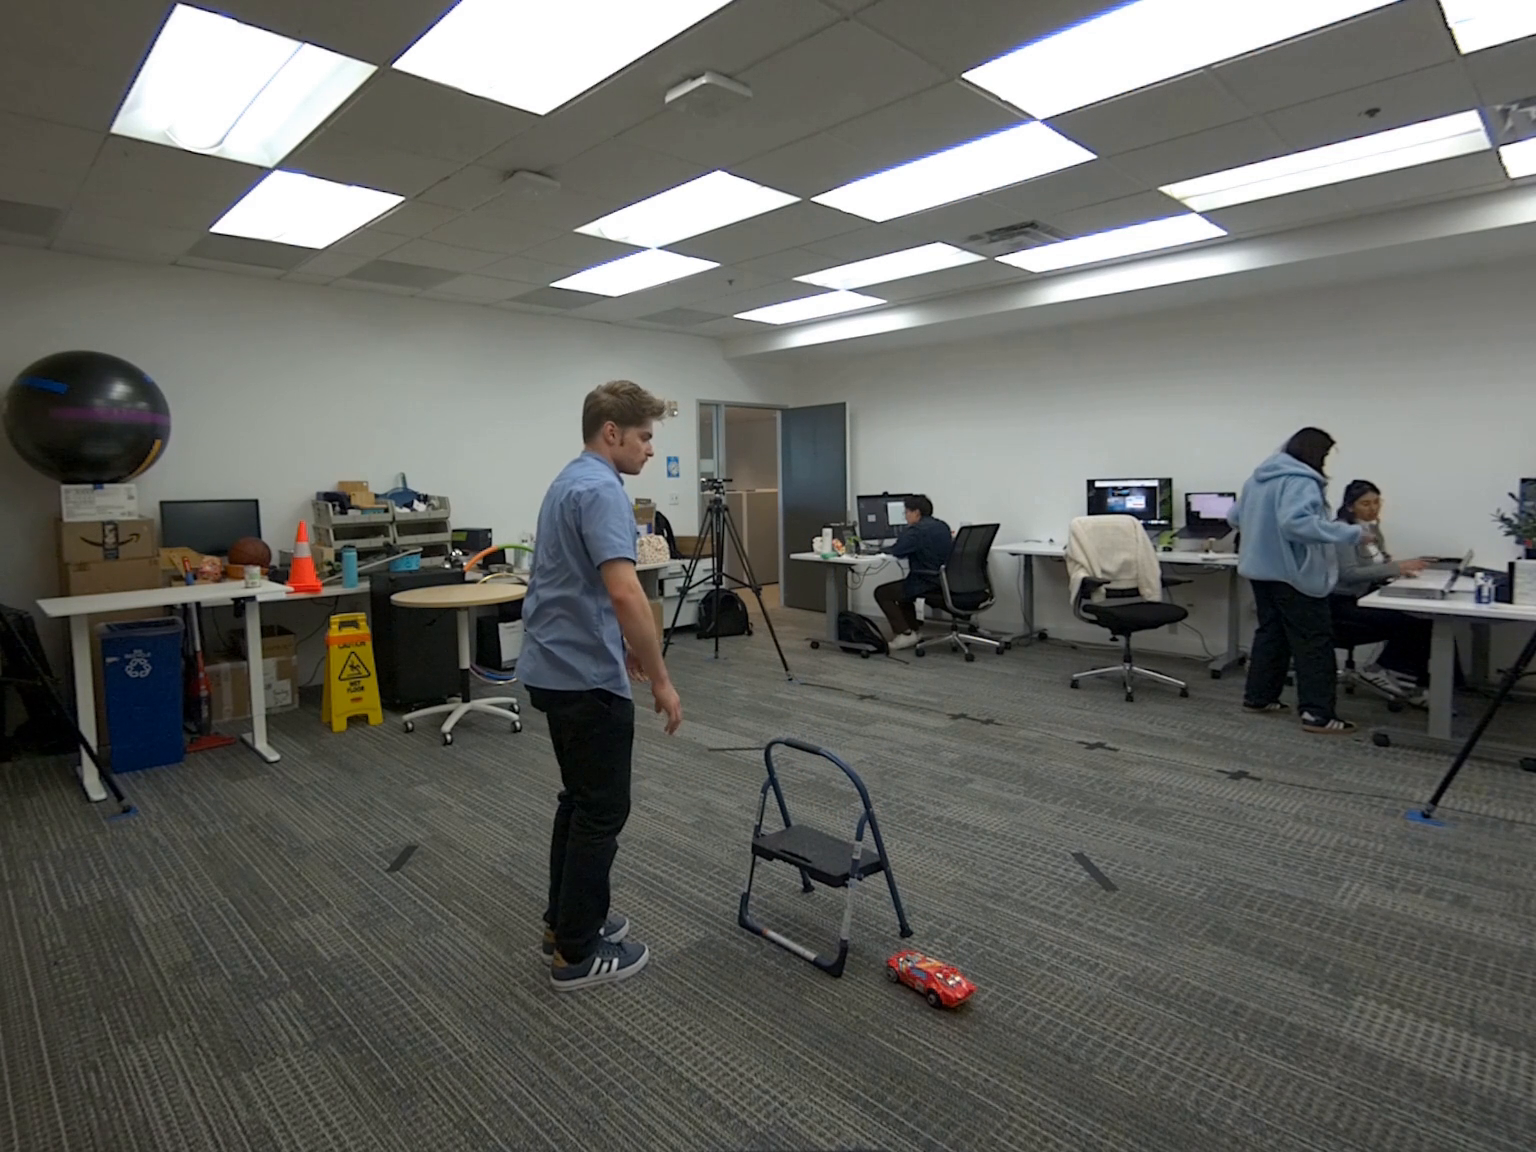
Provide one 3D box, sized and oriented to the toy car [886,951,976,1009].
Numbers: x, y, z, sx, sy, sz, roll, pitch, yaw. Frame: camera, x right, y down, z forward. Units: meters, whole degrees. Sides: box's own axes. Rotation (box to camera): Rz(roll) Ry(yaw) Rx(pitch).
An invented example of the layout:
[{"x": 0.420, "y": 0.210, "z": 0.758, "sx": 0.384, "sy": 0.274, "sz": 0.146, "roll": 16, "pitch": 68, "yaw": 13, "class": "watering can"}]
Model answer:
[{"x": 0.448, "y": 1.094, "z": 2.317, "sx": 0.127, "sy": 0.083, "sz": 0.260, "roll": -6, "pitch": -3, "yaw": -36, "class": "toy car"}]
